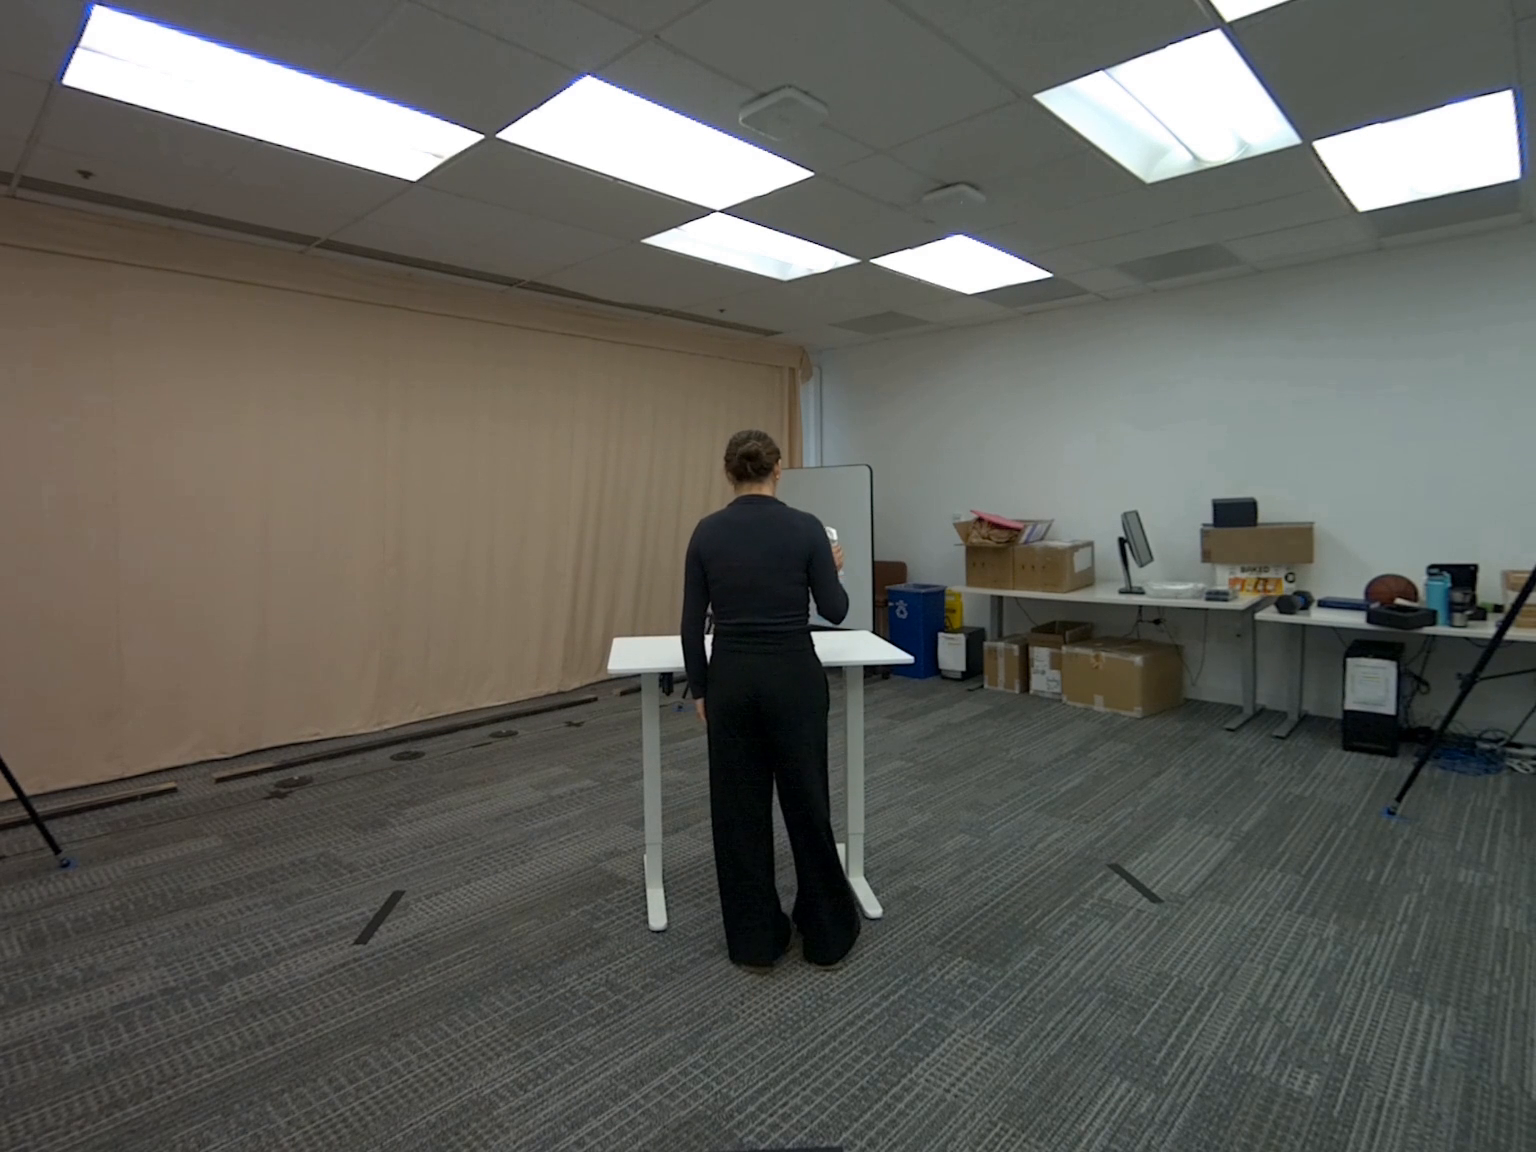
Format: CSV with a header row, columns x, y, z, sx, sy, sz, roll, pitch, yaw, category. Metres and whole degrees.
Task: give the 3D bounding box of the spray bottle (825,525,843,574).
x,y,z,sx,sy,sz,roll,pitch,yaw,category
0.218,-0.003,2.708,0.089,0.296,0.089,2,6,17,spray bottle
